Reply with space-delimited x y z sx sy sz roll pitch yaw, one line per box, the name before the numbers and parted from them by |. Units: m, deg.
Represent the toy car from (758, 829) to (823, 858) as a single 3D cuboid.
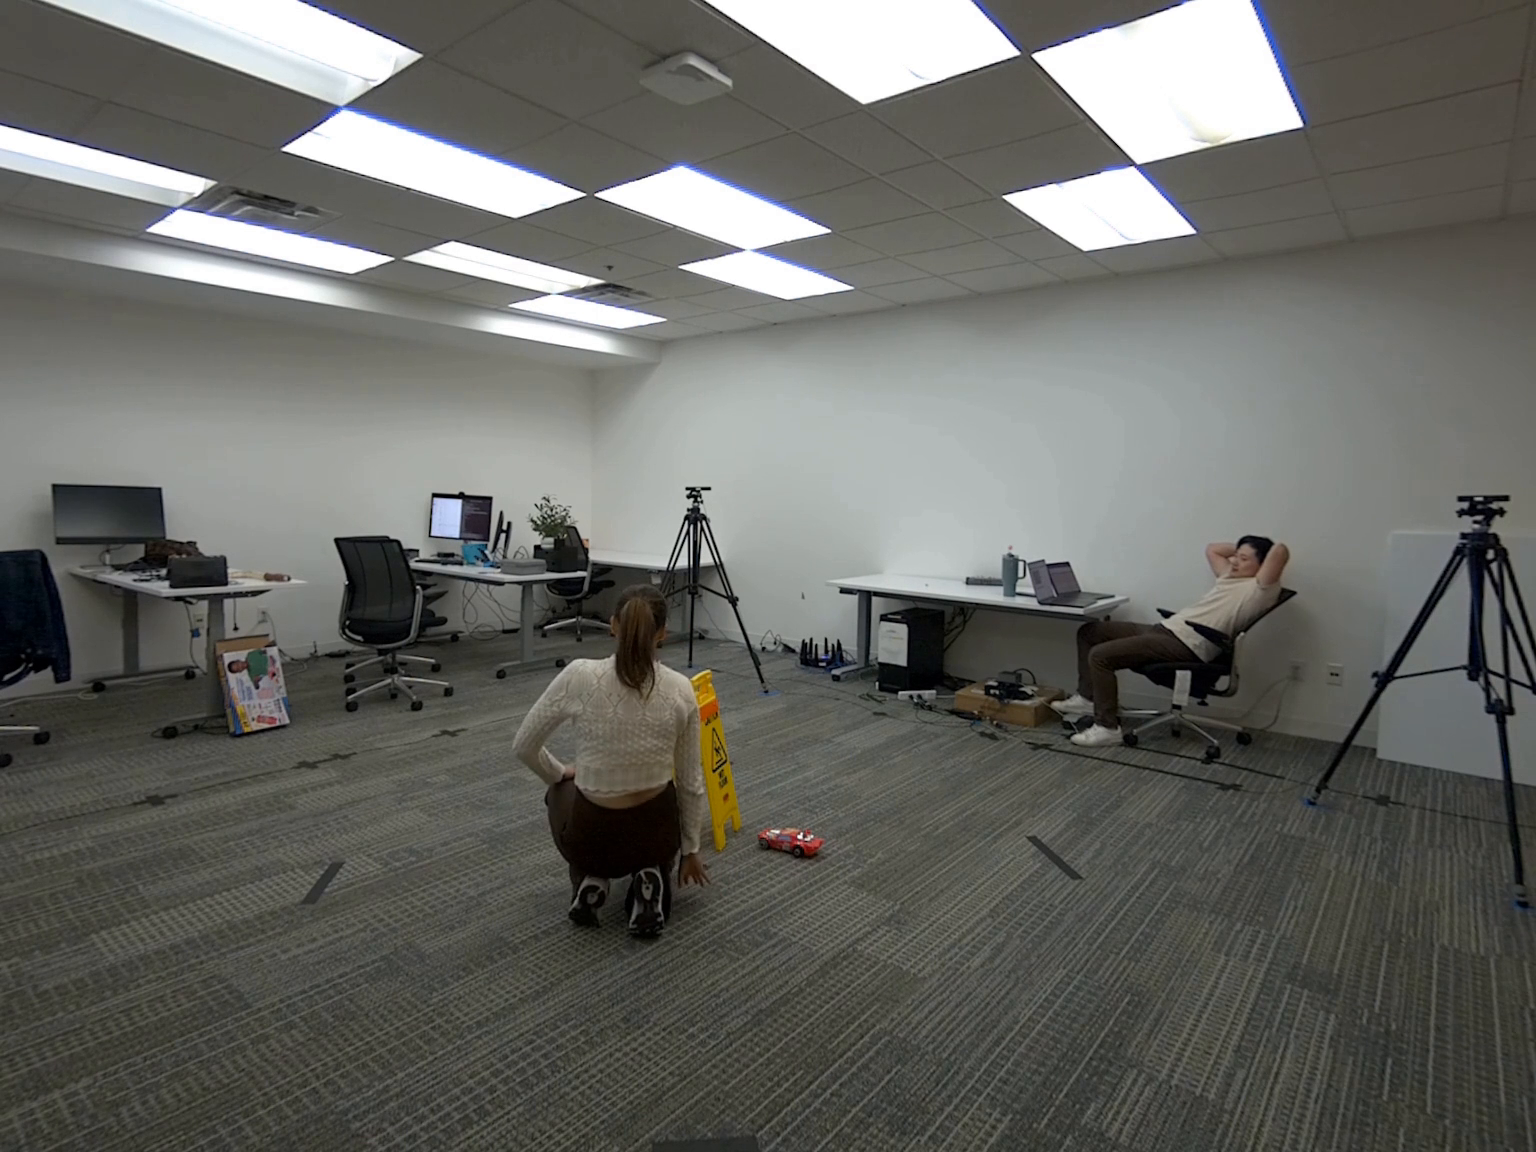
toy car | 0.088 1.026 3.279 0.260 0.083 0.127 -8 -1 30
